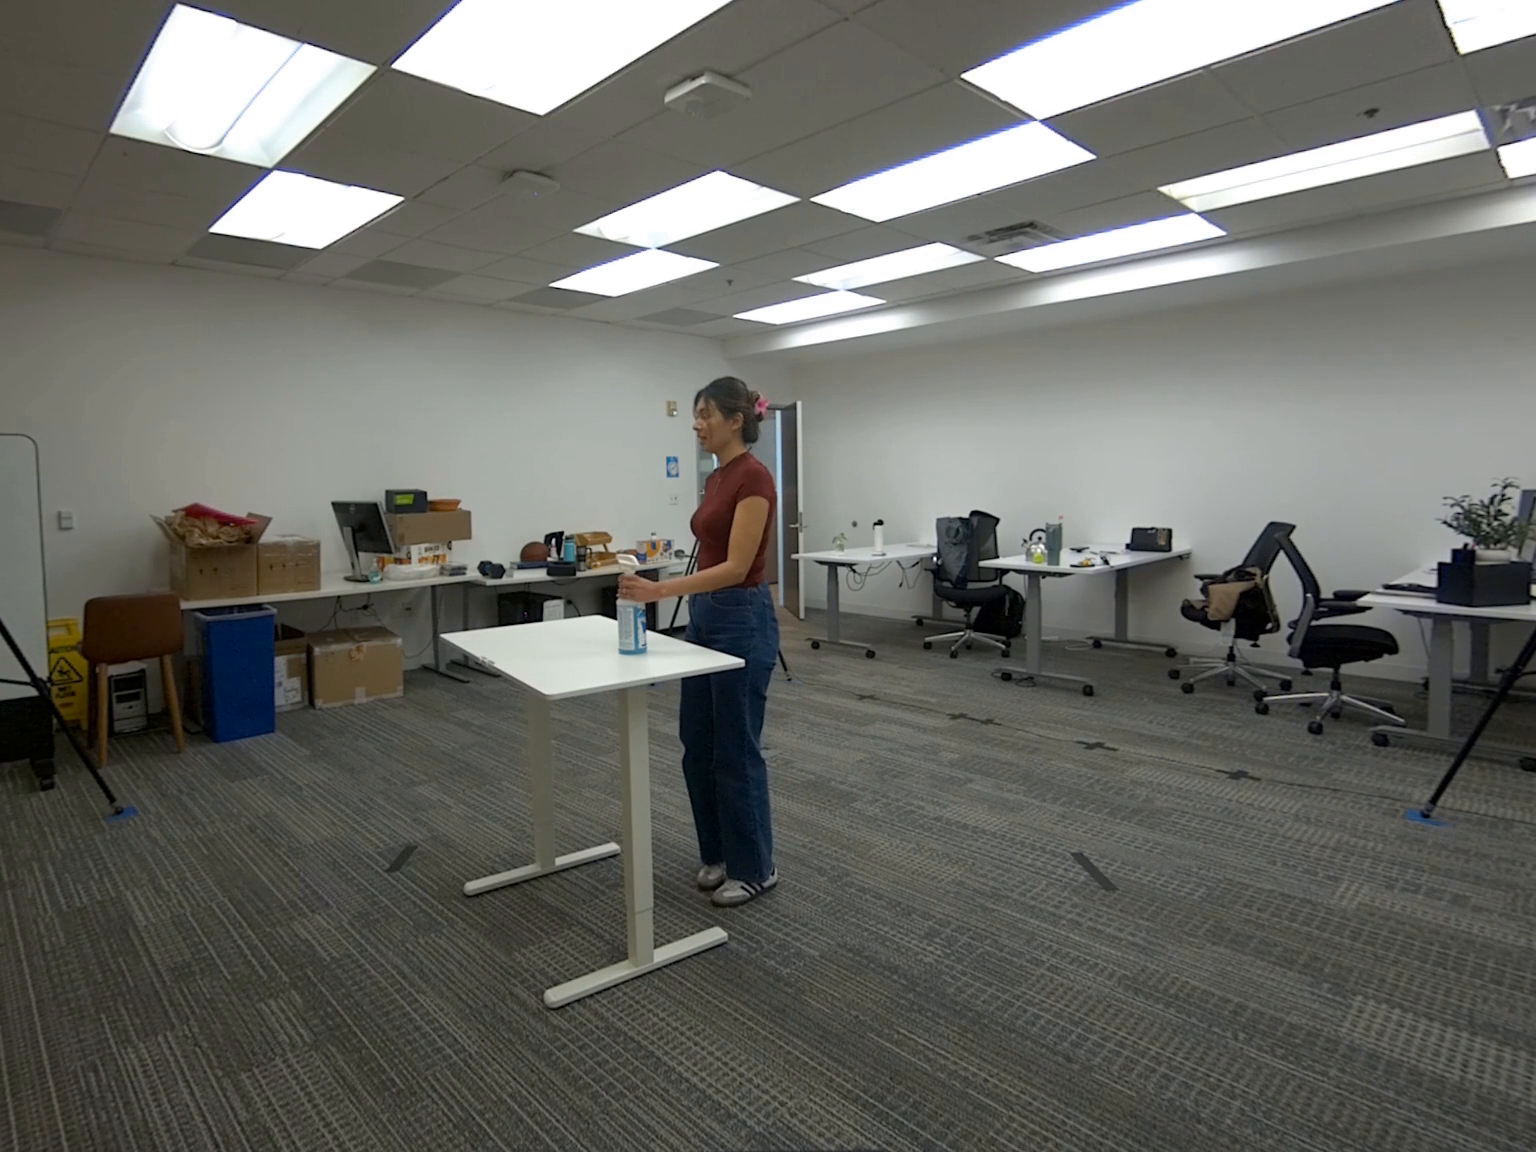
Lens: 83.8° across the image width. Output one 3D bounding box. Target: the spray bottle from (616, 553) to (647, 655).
[{"bbox_3d":[-0.414,0.088,2.586,0.085,0.296,0.092,-4,3,-25],"label":"spray bottle"}]
